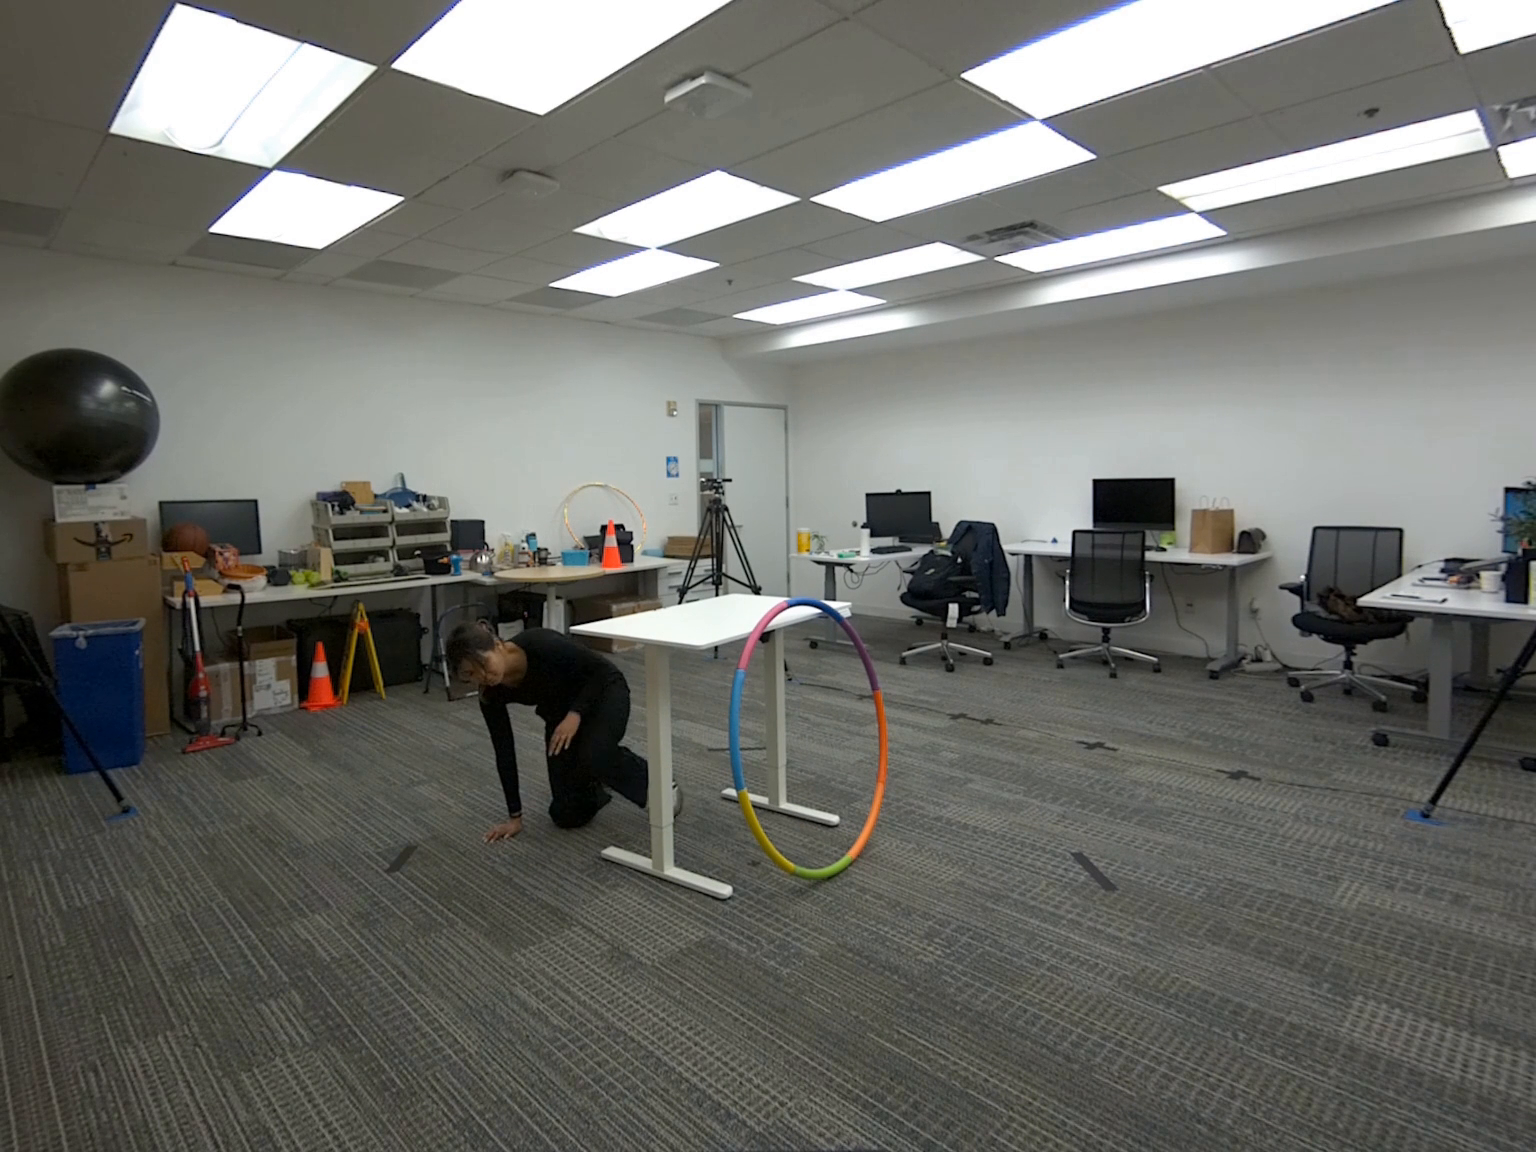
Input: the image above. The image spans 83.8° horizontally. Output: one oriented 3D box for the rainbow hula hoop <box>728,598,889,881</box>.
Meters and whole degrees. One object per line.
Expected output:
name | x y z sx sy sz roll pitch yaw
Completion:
rainbow hula hoop | 0.174 0.561 3.065 0.036 0.982 0.955 -13 -3 36
